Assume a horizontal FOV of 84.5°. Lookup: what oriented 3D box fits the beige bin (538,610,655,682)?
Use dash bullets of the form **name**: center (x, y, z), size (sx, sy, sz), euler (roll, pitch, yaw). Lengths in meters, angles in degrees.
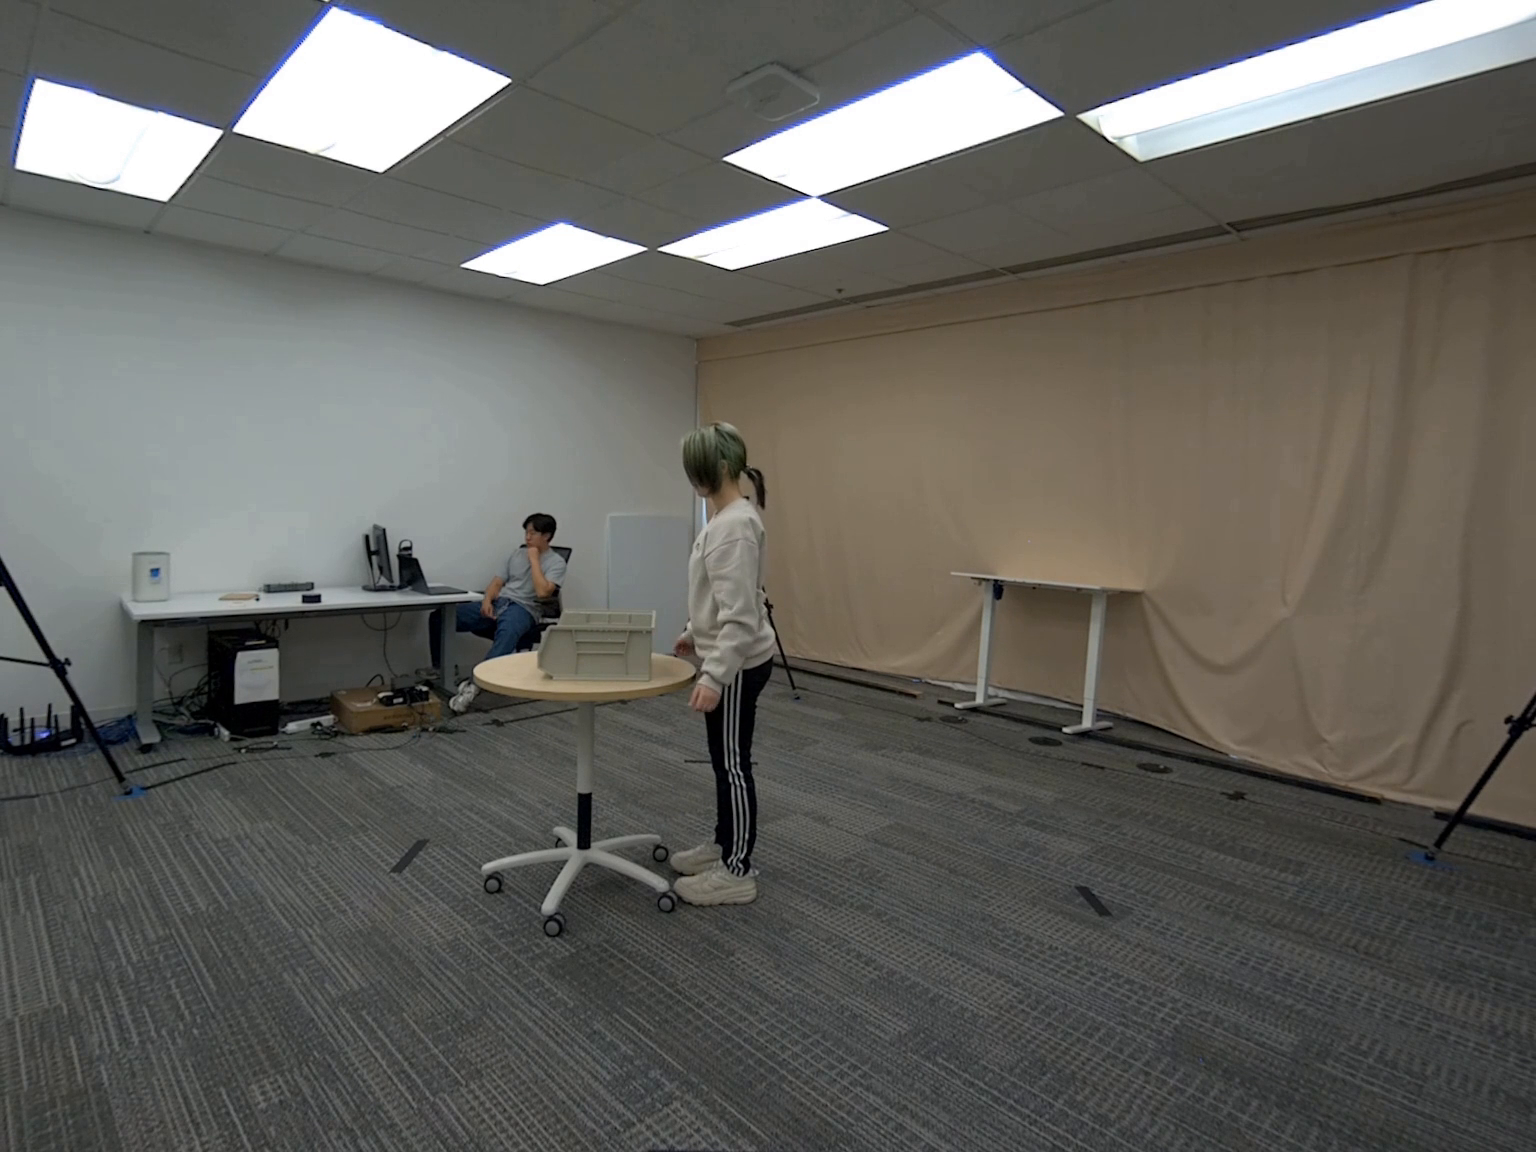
- **beige bin**: center (-0.586, 0.234, 2.947), size (0.375, 0.188, 0.425), euler (2, 4, -6)
